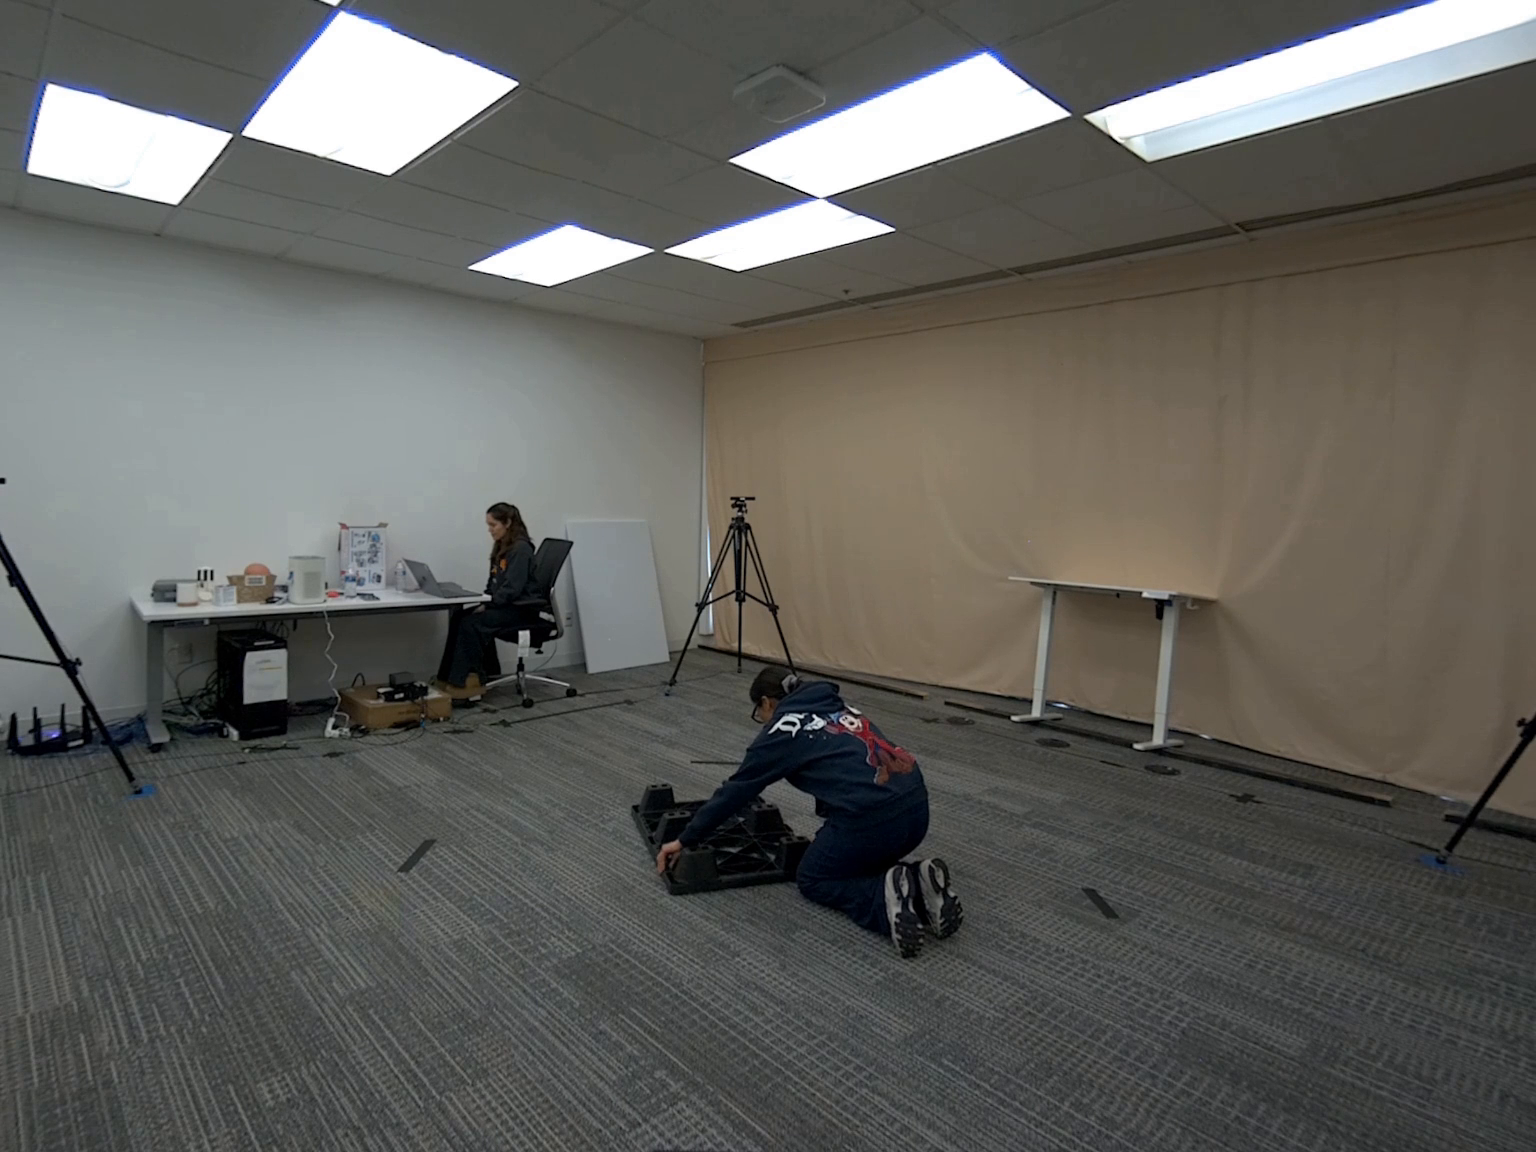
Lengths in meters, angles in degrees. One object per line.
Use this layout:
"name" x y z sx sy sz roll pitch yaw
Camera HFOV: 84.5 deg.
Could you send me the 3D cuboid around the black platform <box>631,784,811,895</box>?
"black platform" -0.190 1.011 3.397 0.596 0.143 0.820 -1 6 -20
